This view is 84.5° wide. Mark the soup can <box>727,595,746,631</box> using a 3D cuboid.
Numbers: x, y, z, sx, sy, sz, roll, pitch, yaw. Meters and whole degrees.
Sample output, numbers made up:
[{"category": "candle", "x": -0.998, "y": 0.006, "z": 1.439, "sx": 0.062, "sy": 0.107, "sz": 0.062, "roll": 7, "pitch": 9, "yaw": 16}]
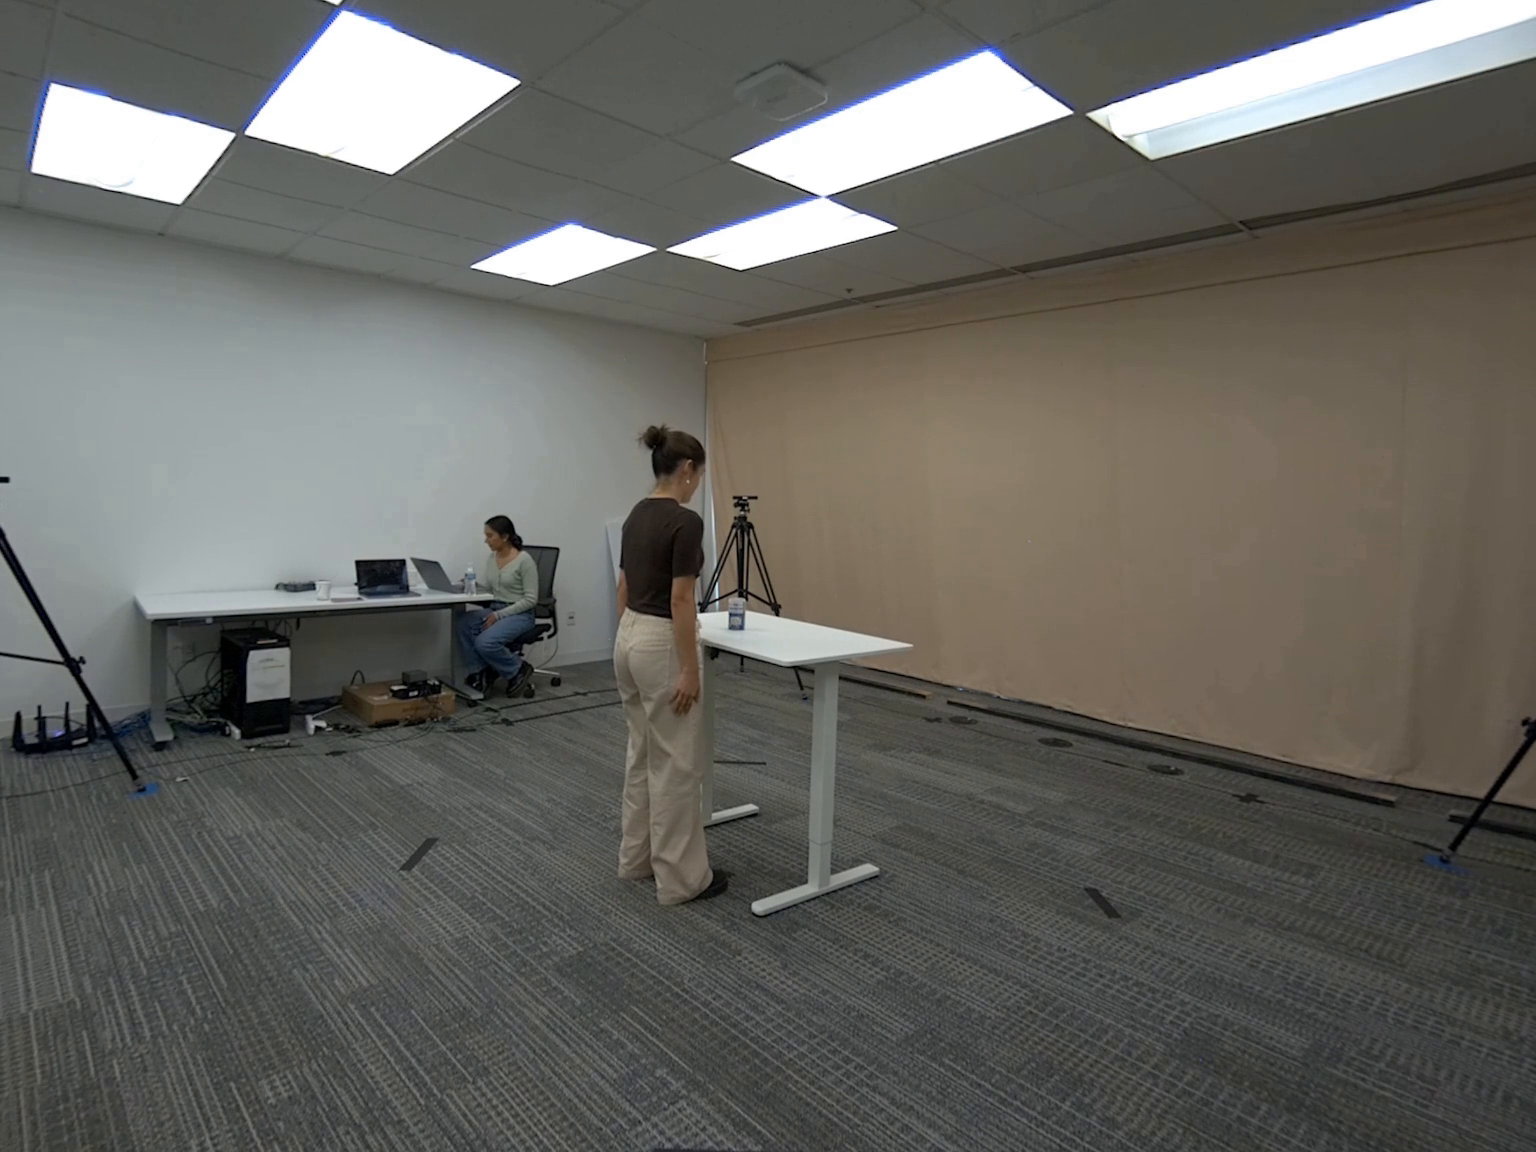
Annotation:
[{"category": "soup can", "x": -0.125, "y": 0.151, "z": 3.240, "sx": 0.067, "sy": 0.121, "sz": 0.067, "roll": -1, "pitch": 3, "yaw": -1}]
